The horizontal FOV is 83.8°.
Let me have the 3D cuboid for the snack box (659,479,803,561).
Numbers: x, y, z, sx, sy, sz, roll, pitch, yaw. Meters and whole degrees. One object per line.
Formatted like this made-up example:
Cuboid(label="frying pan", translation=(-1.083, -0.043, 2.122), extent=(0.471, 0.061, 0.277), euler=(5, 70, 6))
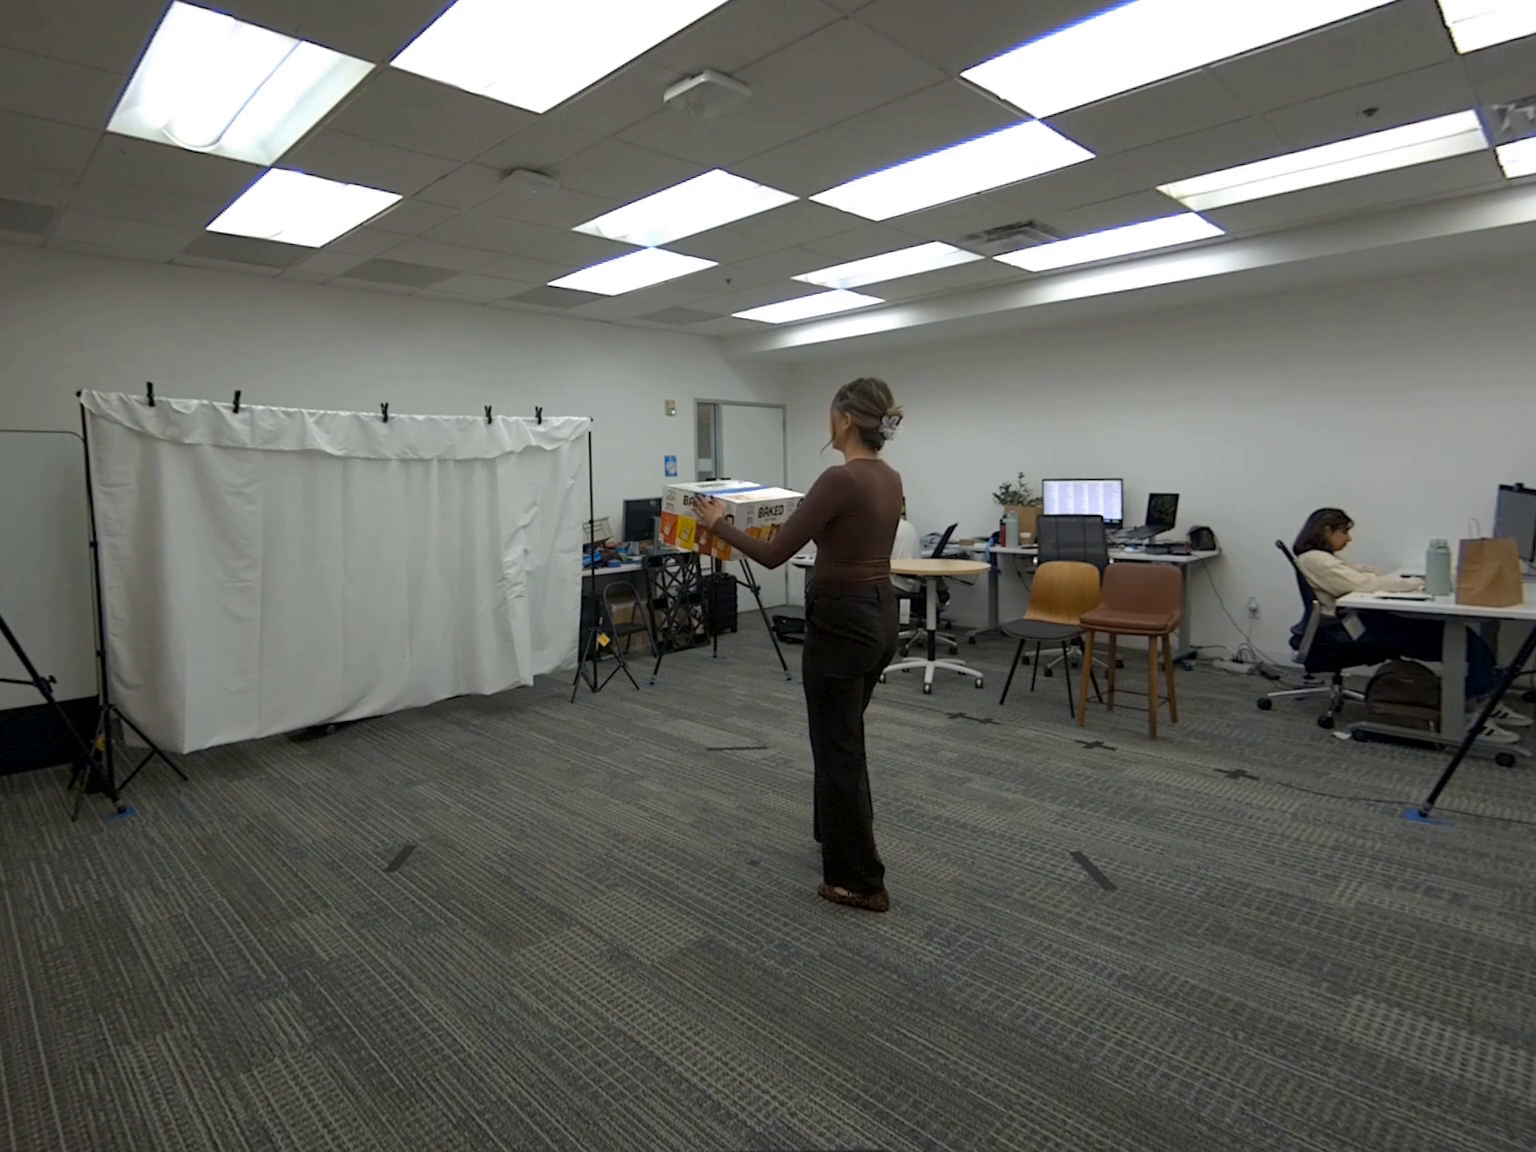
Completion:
Cuboid(label="snack box", translation=(-0.124, -0.207, 3.080), extent=(0.352, 0.203, 0.396), euler=(16, 17, 36))
